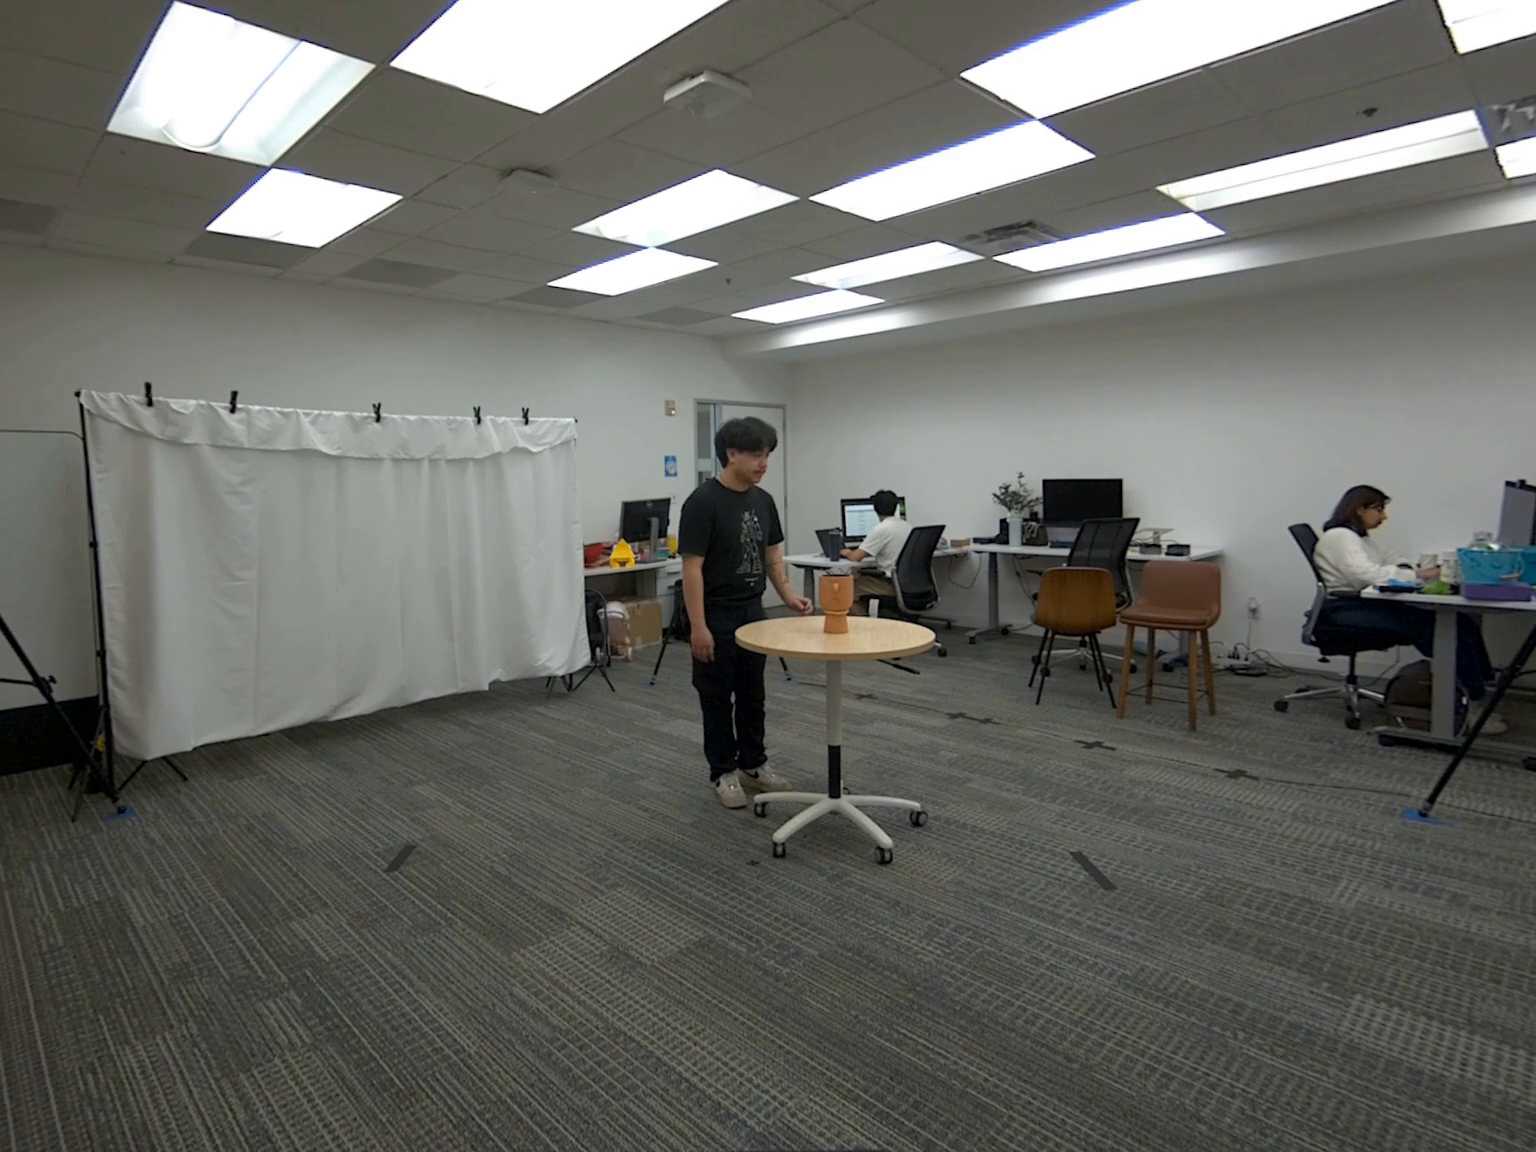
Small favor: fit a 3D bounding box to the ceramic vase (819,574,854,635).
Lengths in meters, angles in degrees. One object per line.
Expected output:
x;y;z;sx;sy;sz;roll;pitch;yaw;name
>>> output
0.269;0.109;3.328;0.139;0.219;0.155;3;7;45;ceramic vase
